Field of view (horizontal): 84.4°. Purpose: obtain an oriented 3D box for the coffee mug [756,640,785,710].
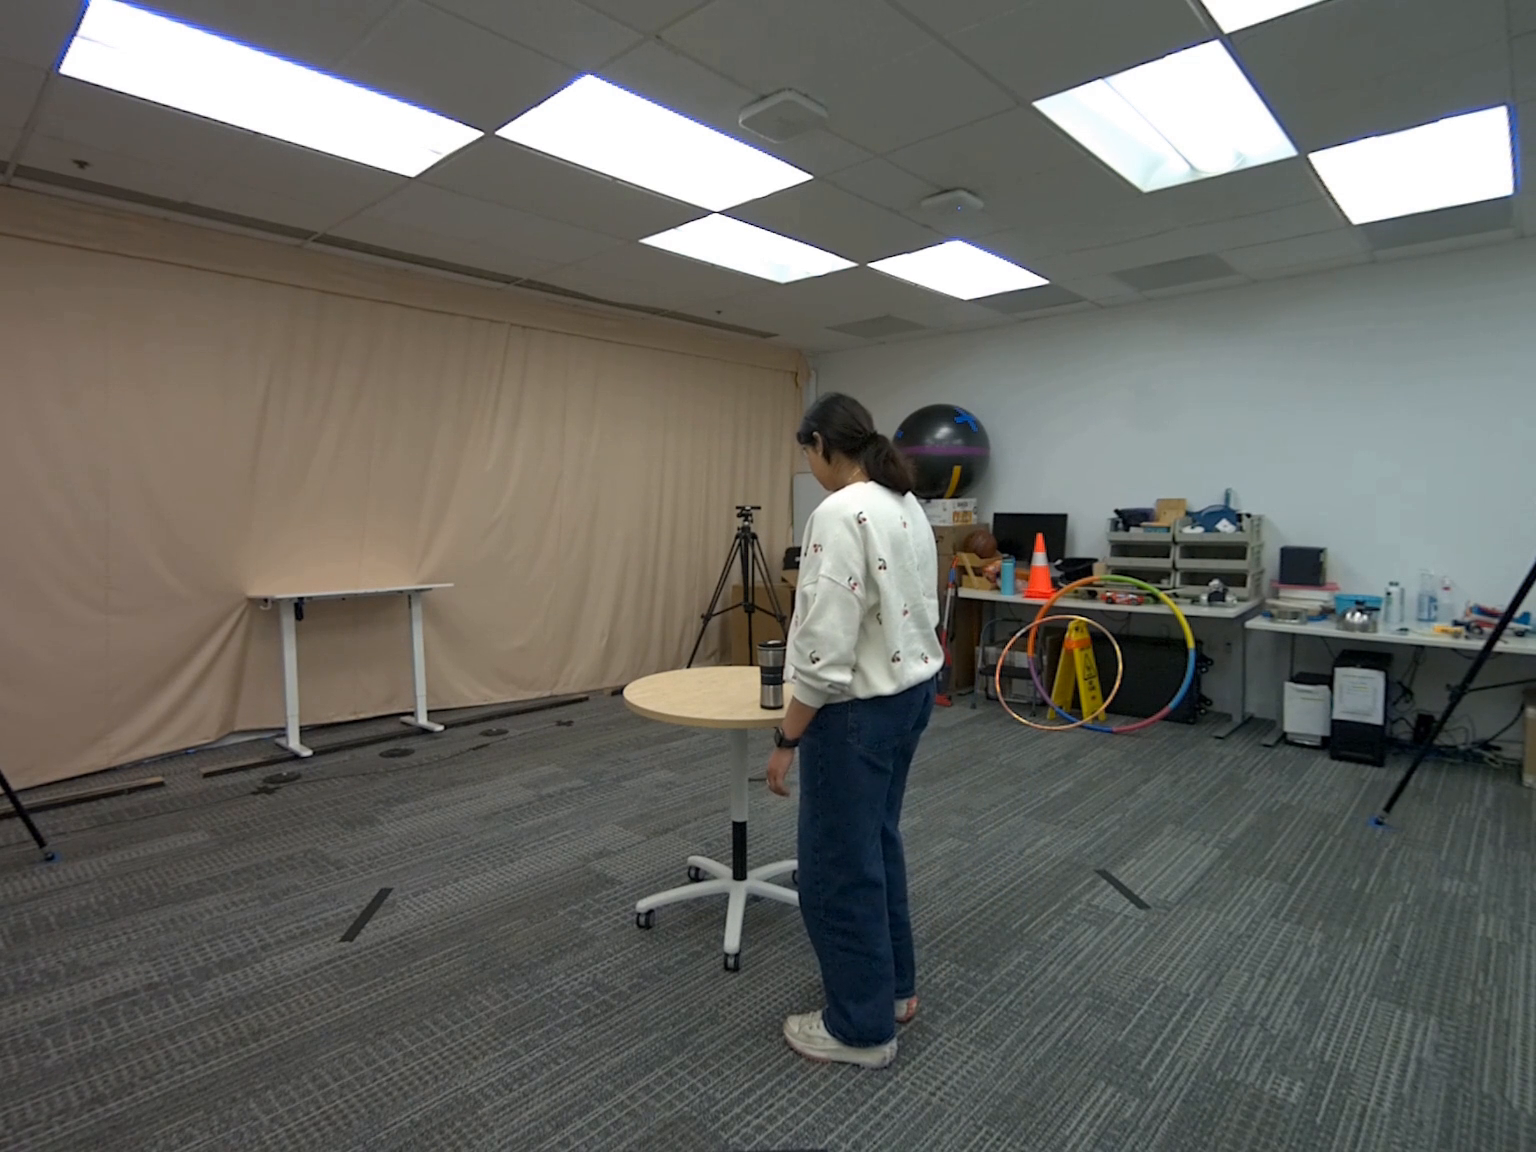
[{"bbox_3d":[0.034,0.305,2.533,0.085,0.203,0.126,3,0,-42],"label":"coffee mug"}]
